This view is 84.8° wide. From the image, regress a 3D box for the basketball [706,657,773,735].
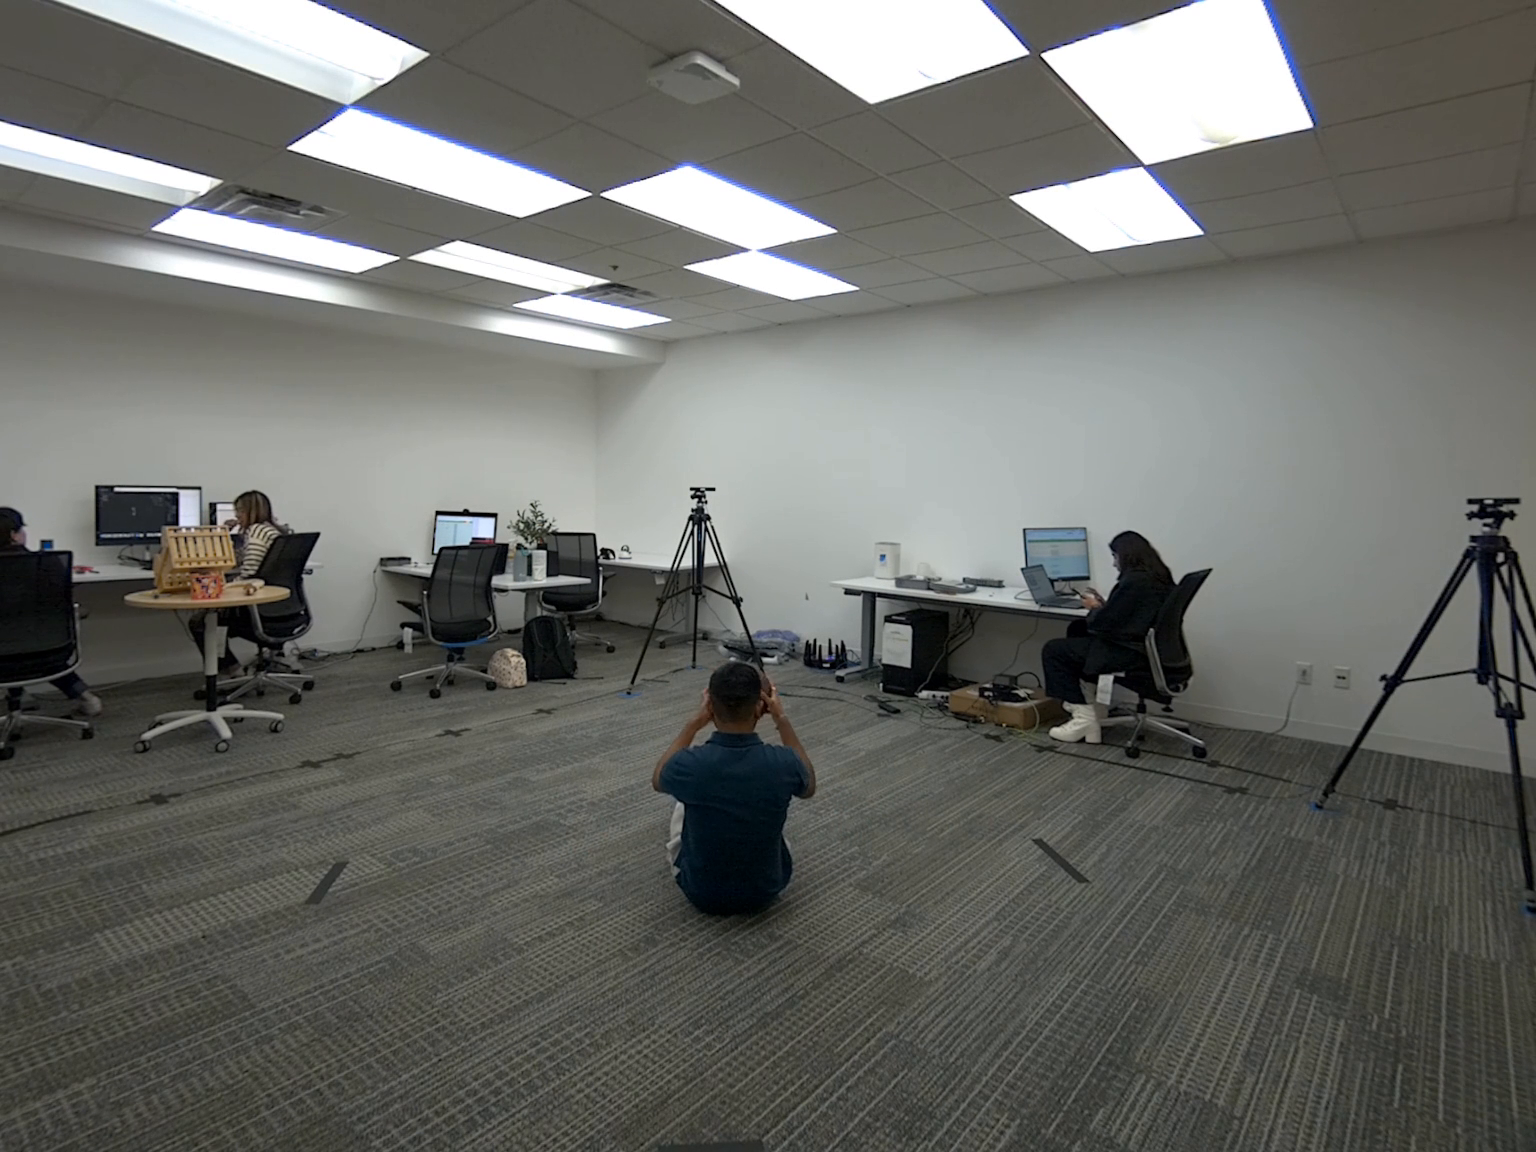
[{"bbox_3d":[-0.114,0.449,3.208,0.235,0.235,0.237,1,4,-2],"label":"basketball"}]
